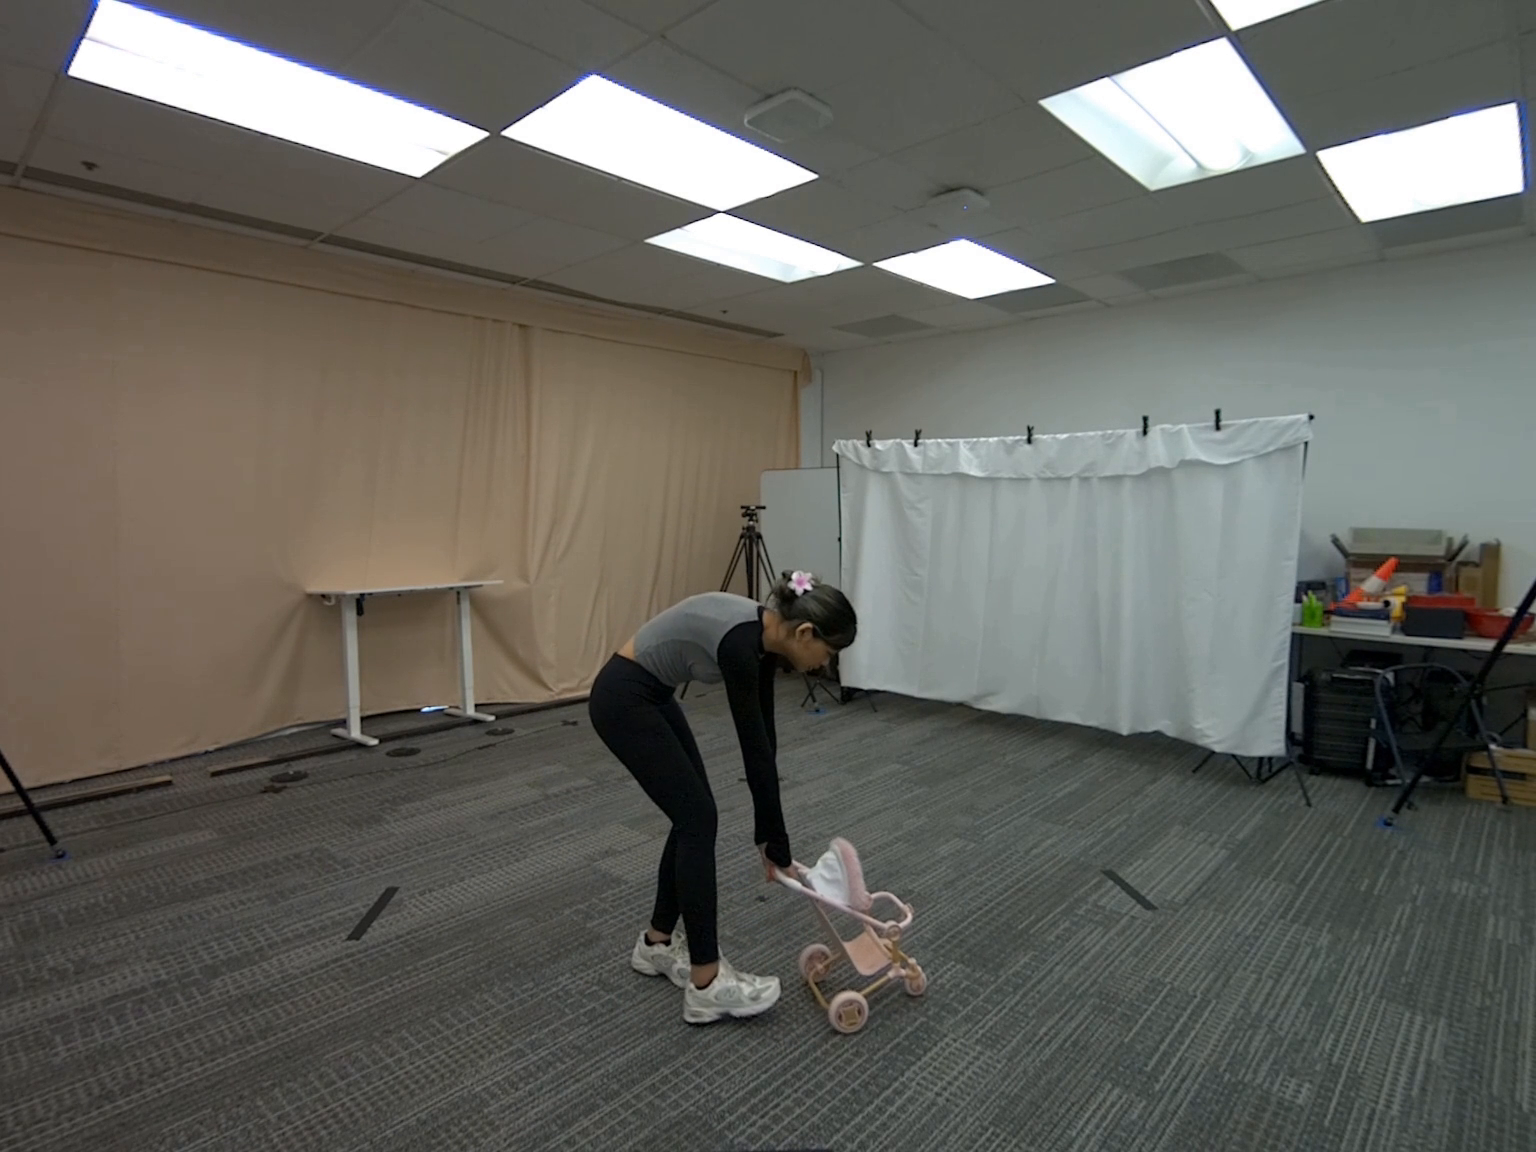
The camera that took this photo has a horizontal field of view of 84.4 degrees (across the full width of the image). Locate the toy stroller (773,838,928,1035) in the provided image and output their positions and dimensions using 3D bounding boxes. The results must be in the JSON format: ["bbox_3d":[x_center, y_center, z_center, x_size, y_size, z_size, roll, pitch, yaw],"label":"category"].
[{"bbox_3d":[0.243,0.973,2.341,0.339,0.532,0.285,-17,6,-9],"label":"toy stroller"}]
